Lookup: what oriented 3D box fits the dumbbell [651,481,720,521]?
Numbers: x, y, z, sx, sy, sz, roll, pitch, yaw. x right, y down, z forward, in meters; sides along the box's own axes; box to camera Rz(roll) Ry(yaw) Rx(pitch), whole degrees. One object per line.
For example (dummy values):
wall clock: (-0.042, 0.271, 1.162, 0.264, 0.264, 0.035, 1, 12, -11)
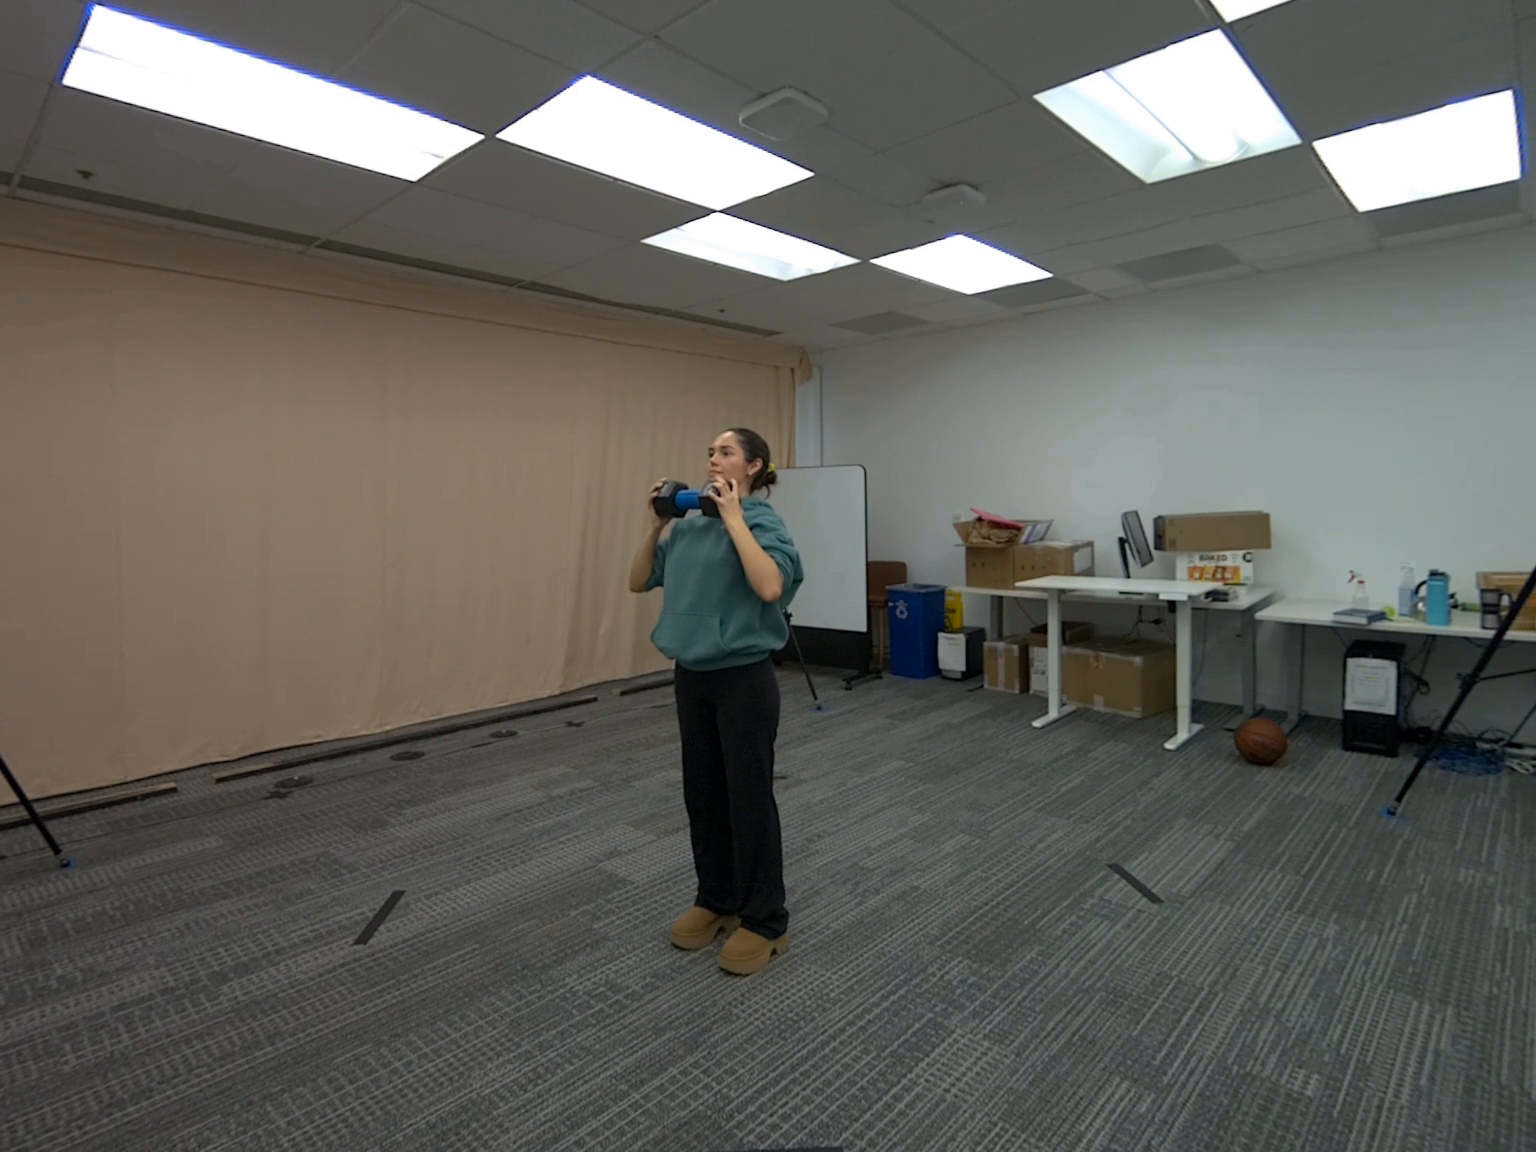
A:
dumbbell: (-0.207, -0.231, 2.535, 0.303, 0.121, 0.107, 3, 28, 43)
